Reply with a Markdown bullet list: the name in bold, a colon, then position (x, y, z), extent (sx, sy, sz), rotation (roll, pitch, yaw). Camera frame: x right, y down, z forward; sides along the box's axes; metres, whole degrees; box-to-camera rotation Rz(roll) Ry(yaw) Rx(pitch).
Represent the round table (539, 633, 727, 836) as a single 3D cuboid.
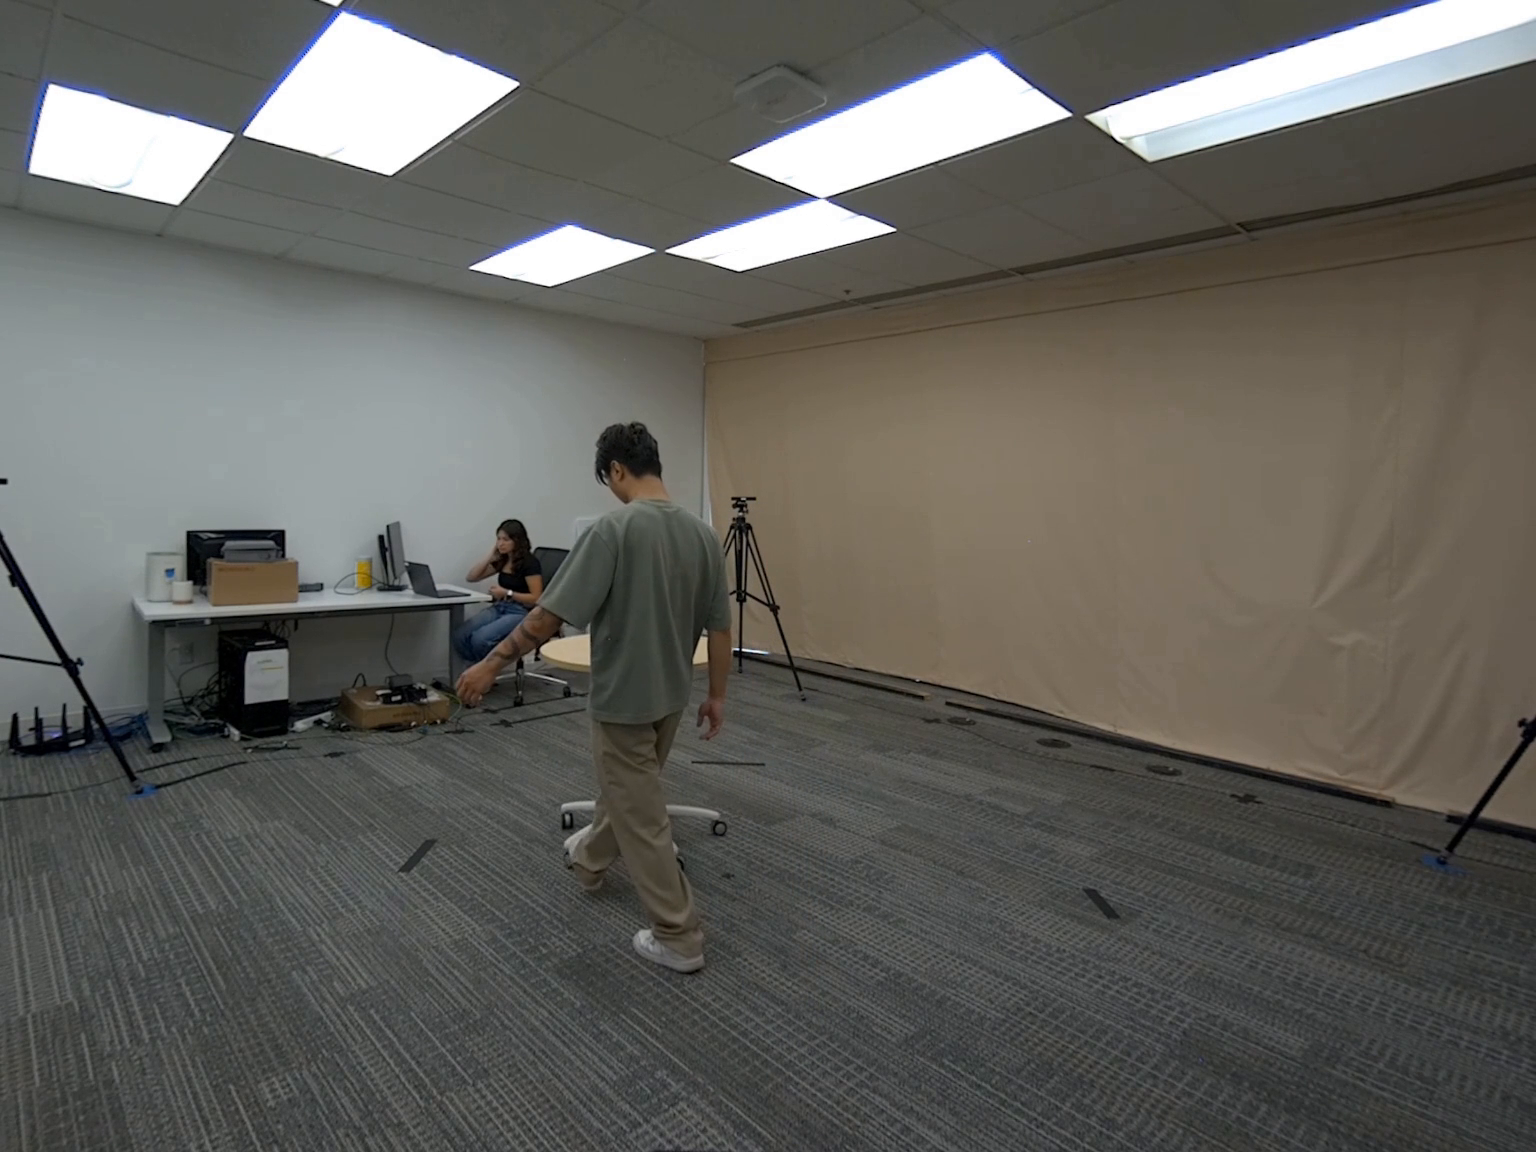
- **round table**: position (-0.524, 0.682, 3.380), extent (0.784, 0.784, 0.788), rotation (1, 4, -1)
